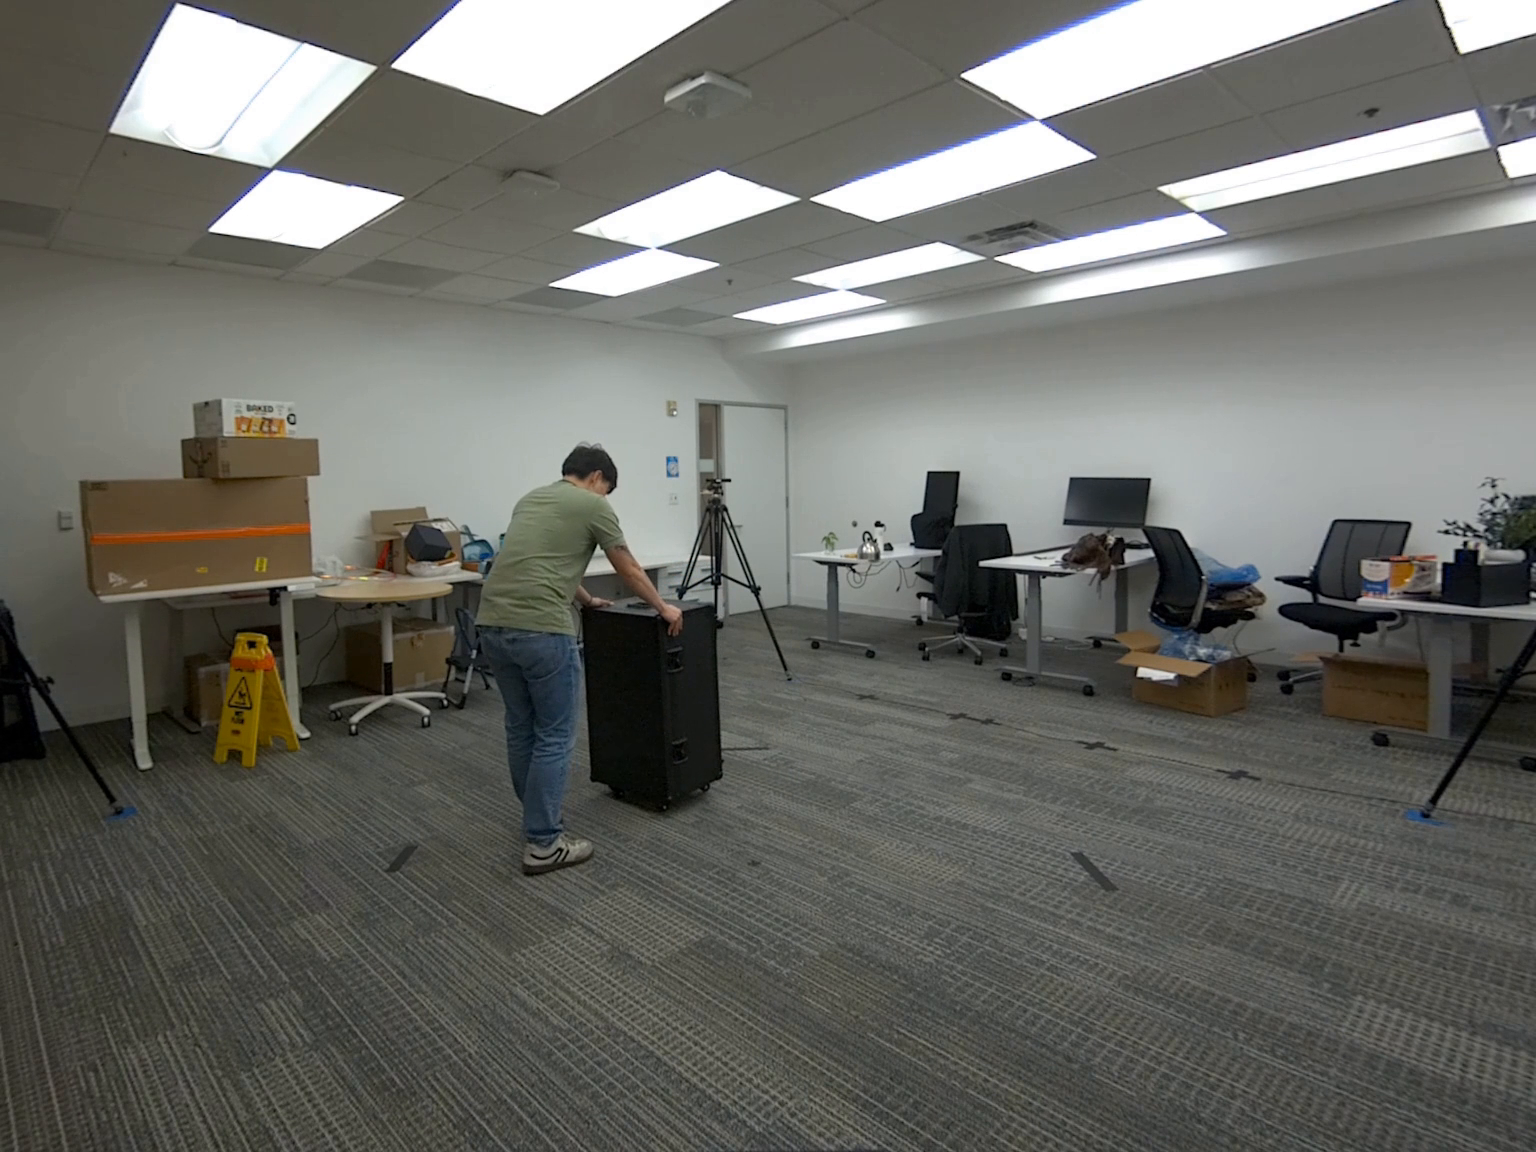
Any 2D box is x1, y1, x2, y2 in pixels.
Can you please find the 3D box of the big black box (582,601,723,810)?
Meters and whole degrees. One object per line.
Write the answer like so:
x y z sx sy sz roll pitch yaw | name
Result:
-0.507 0.547 3.777 0.537 0.858 0.386 2 6 40 | big black box
